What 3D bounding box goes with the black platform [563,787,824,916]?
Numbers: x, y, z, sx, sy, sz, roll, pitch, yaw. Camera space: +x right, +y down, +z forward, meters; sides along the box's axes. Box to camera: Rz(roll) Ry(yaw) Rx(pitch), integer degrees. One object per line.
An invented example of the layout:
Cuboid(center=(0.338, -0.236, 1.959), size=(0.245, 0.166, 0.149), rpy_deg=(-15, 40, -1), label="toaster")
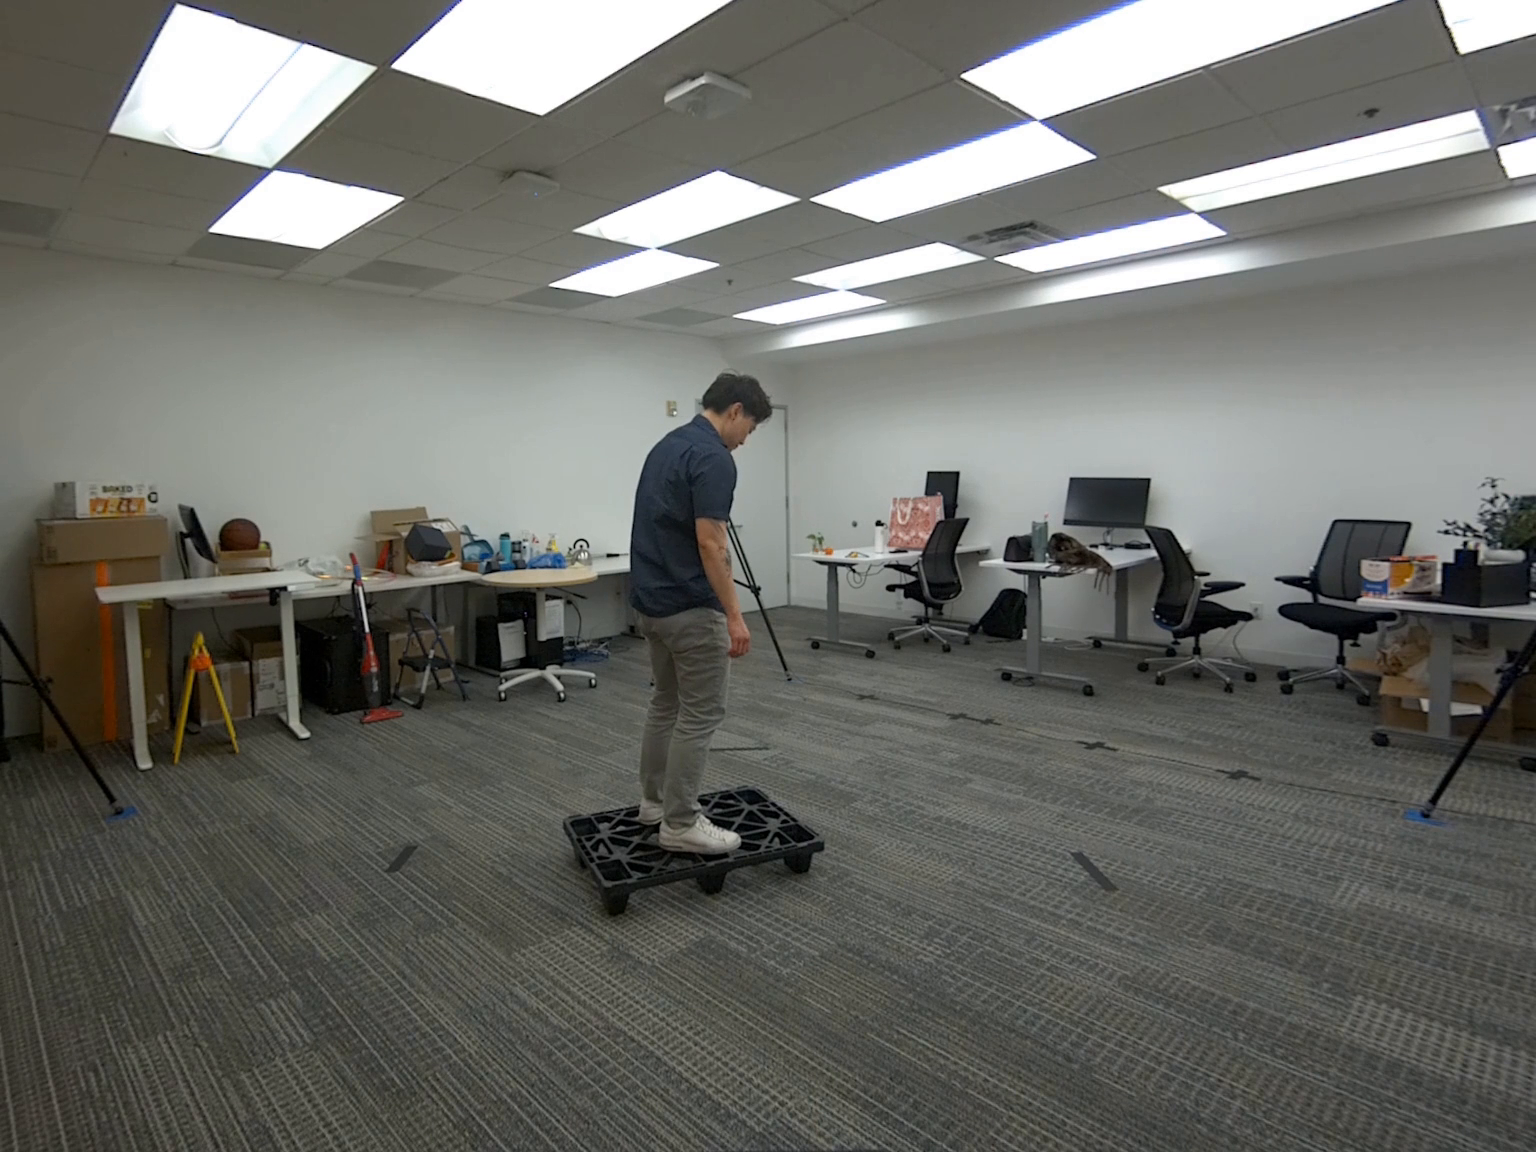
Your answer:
Cuboid(center=(-0.288, 0.981, 3.102), size=(0.789, 0.143, 0.620), rpy_deg=(-4, 7, -24), label="black platform")
